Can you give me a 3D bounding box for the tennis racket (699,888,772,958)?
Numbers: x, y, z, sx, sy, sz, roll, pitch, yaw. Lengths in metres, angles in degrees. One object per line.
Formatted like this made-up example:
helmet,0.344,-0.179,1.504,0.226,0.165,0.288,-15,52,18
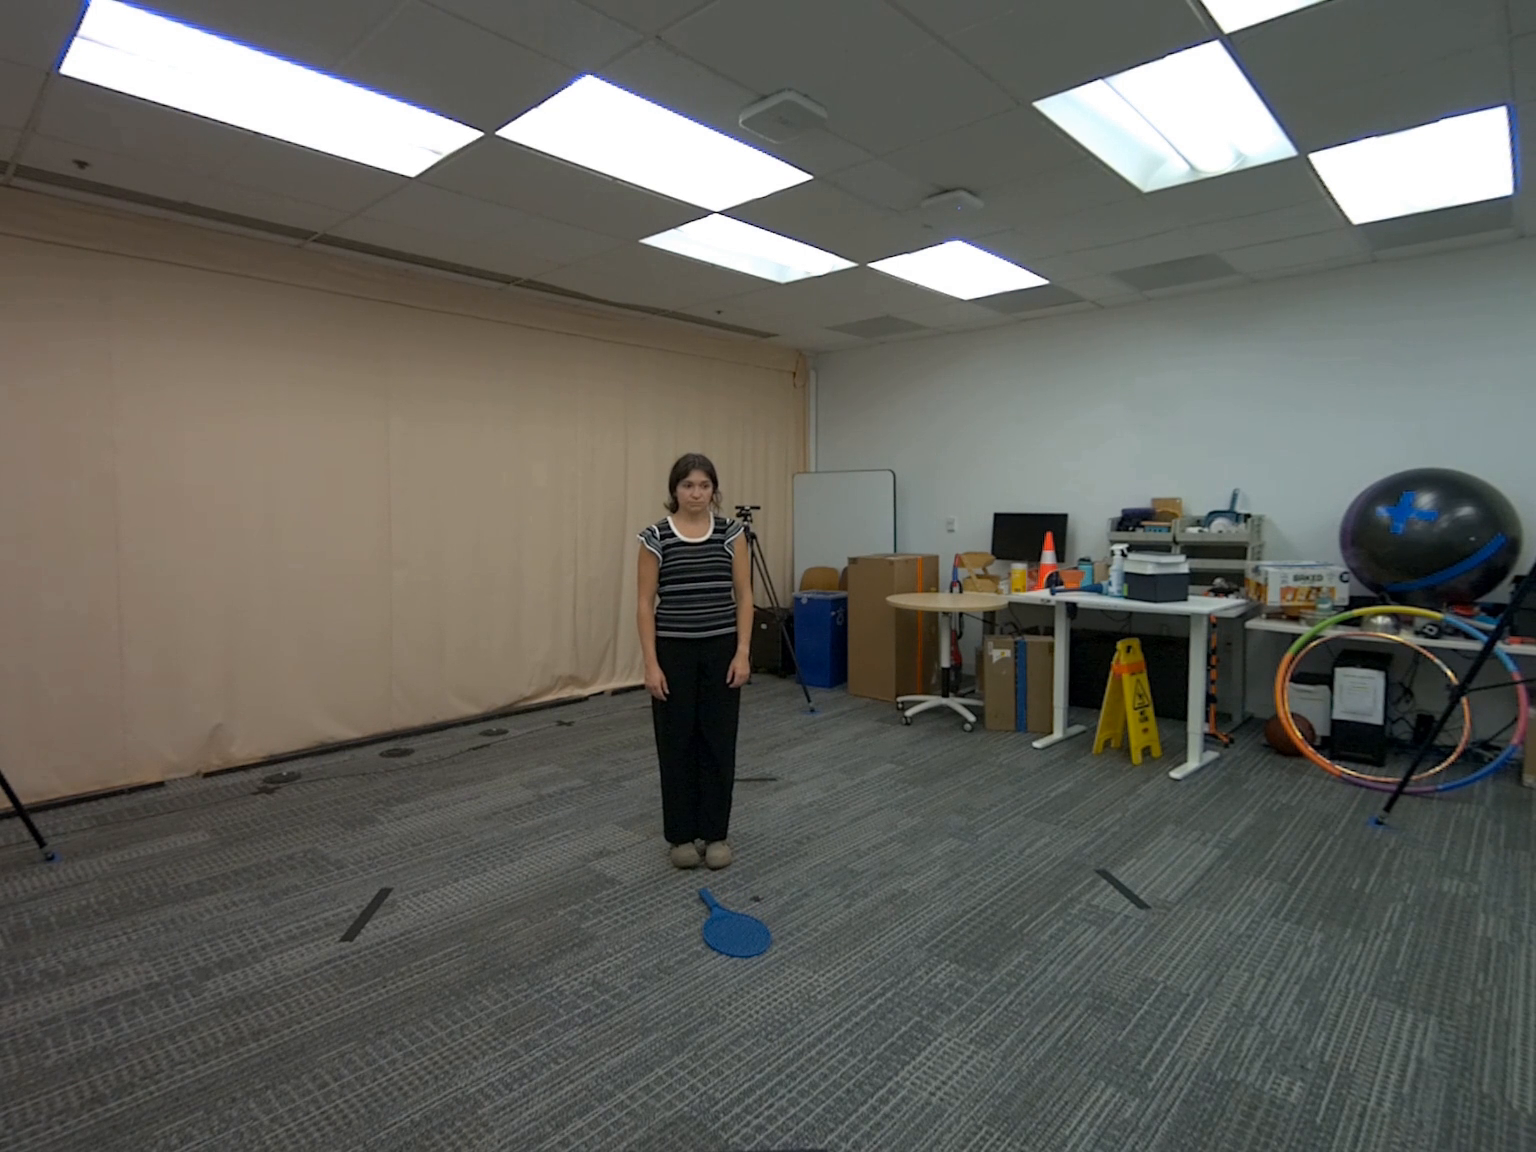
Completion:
tennis racket,-0.133,1.144,2.798,0.209,0.031,0.444,-2,6,-24
